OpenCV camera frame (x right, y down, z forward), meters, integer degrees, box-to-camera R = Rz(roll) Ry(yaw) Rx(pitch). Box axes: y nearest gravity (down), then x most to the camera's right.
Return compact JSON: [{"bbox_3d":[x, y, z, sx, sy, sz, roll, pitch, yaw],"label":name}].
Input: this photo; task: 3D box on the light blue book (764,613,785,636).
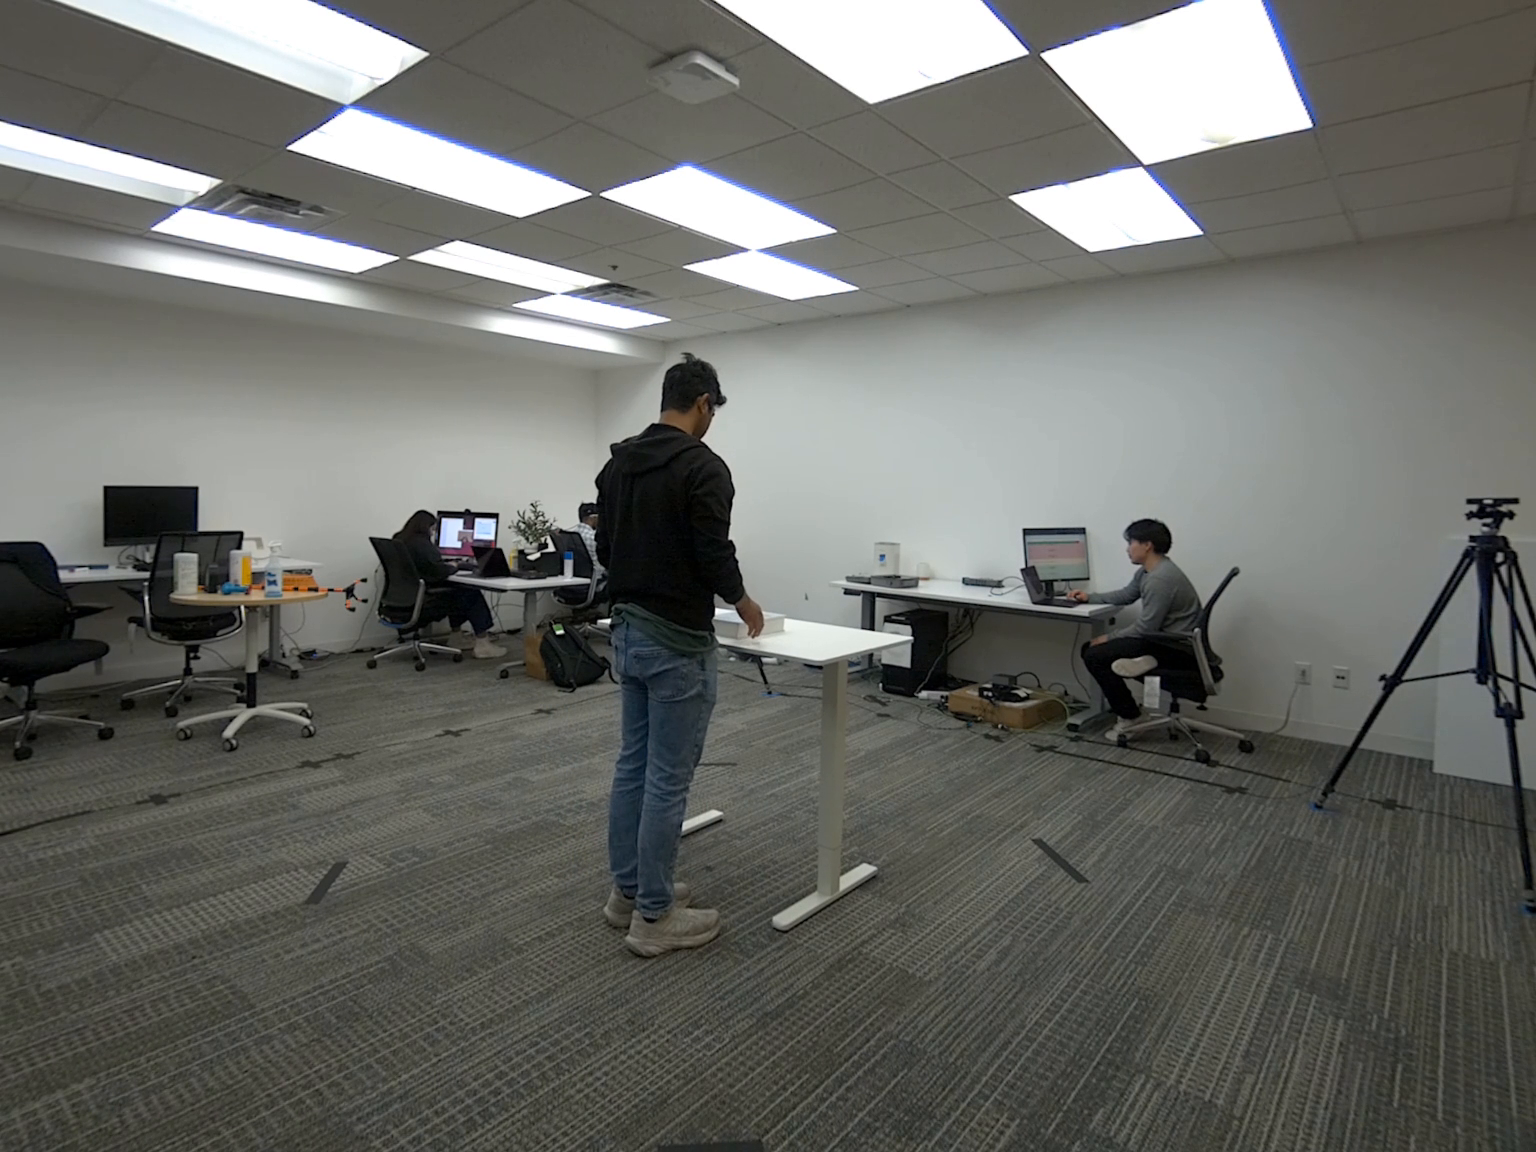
[{"bbox_3d":[-0.093,0.170,3.017,0.198,0.059,0.253,5,7,39],"label":"light blue book"}]
